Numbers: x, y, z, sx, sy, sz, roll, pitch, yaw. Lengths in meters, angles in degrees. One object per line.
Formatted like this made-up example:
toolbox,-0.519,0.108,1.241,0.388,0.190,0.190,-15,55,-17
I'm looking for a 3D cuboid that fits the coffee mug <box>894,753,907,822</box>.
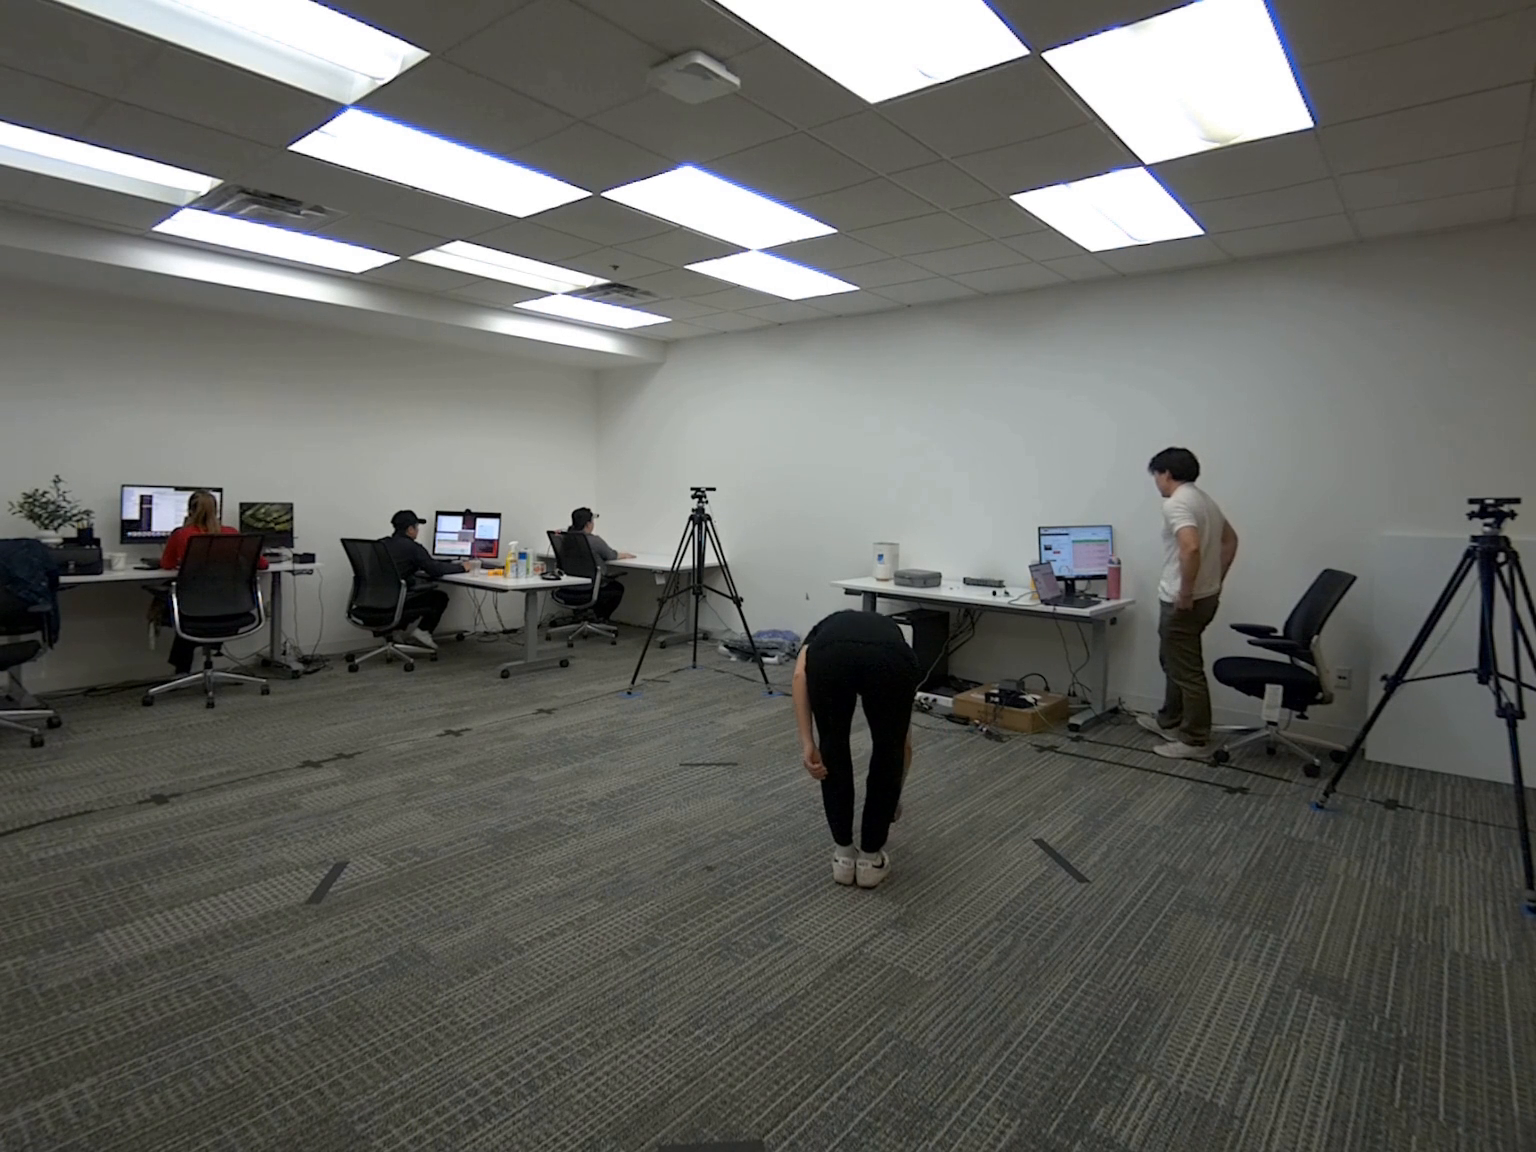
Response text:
coffee mug,0.453,0.863,3.408,0.085,0.205,0.124,11,-16,-27
